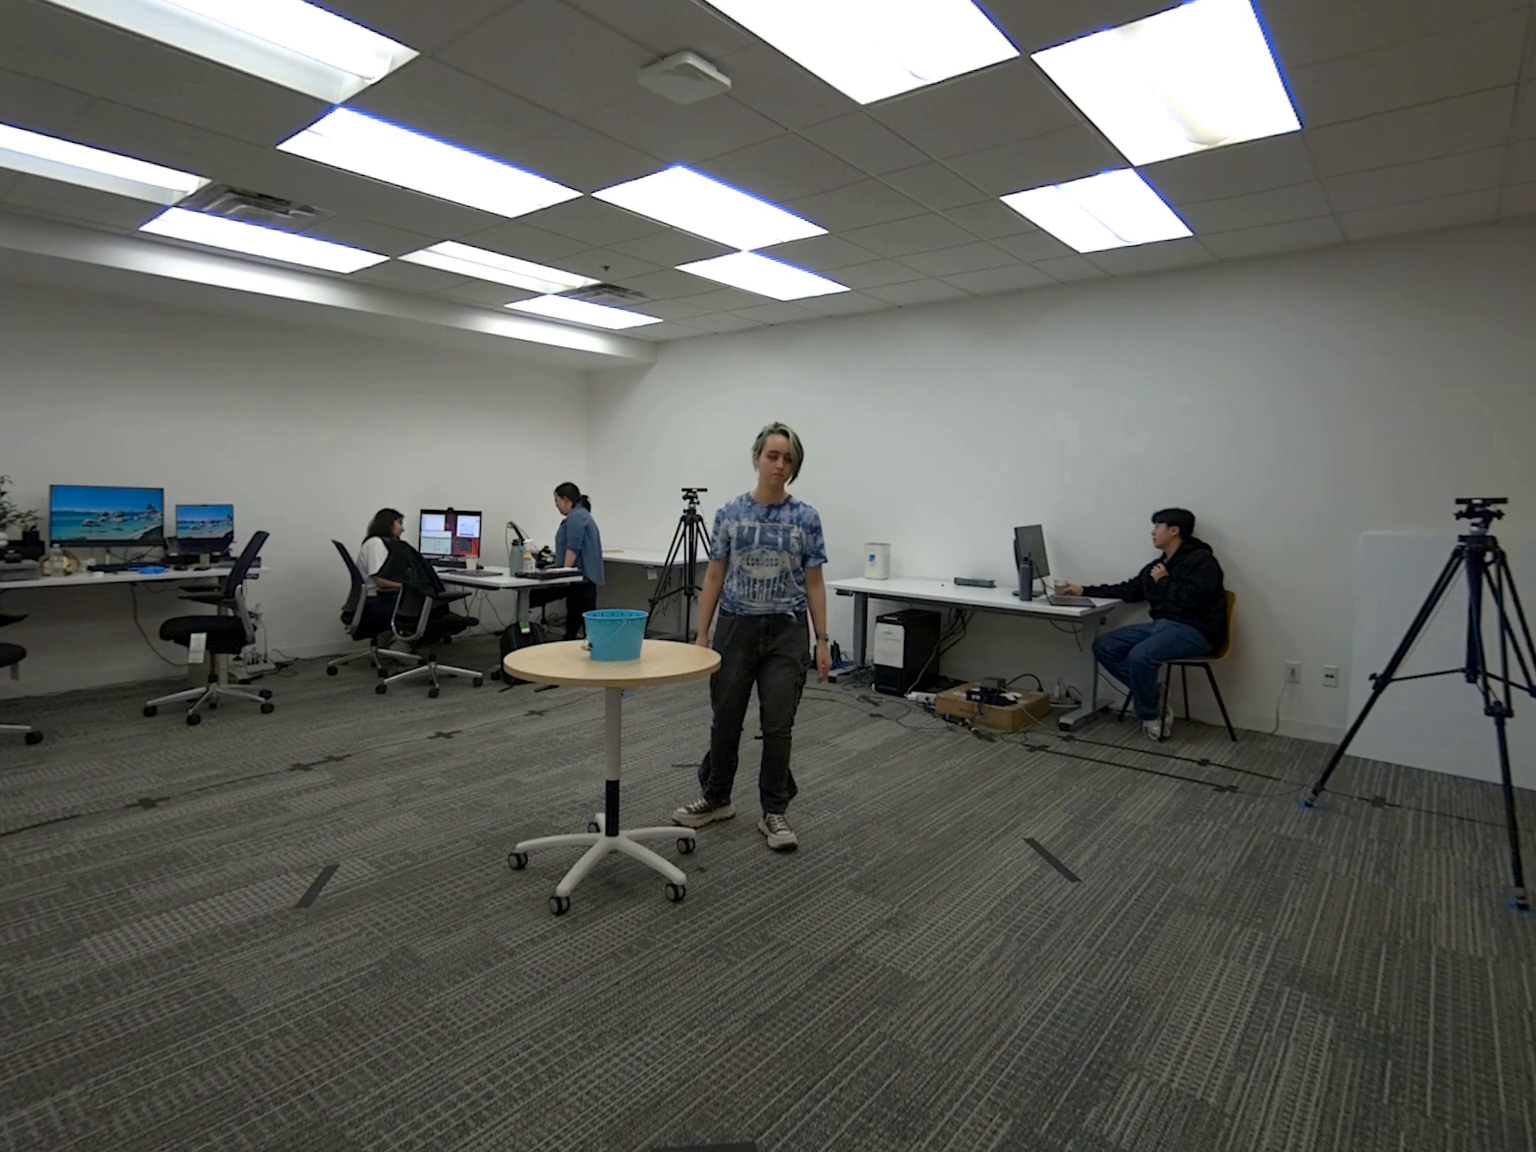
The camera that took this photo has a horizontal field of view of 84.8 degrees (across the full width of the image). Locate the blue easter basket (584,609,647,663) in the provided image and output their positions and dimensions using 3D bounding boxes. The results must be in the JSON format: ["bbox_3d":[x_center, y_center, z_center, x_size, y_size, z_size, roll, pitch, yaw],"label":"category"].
[{"bbox_3d":[-0.569,0.213,3.039,0.243,0.155,0.245,1,4,-2],"label":"blue easter basket"}]
